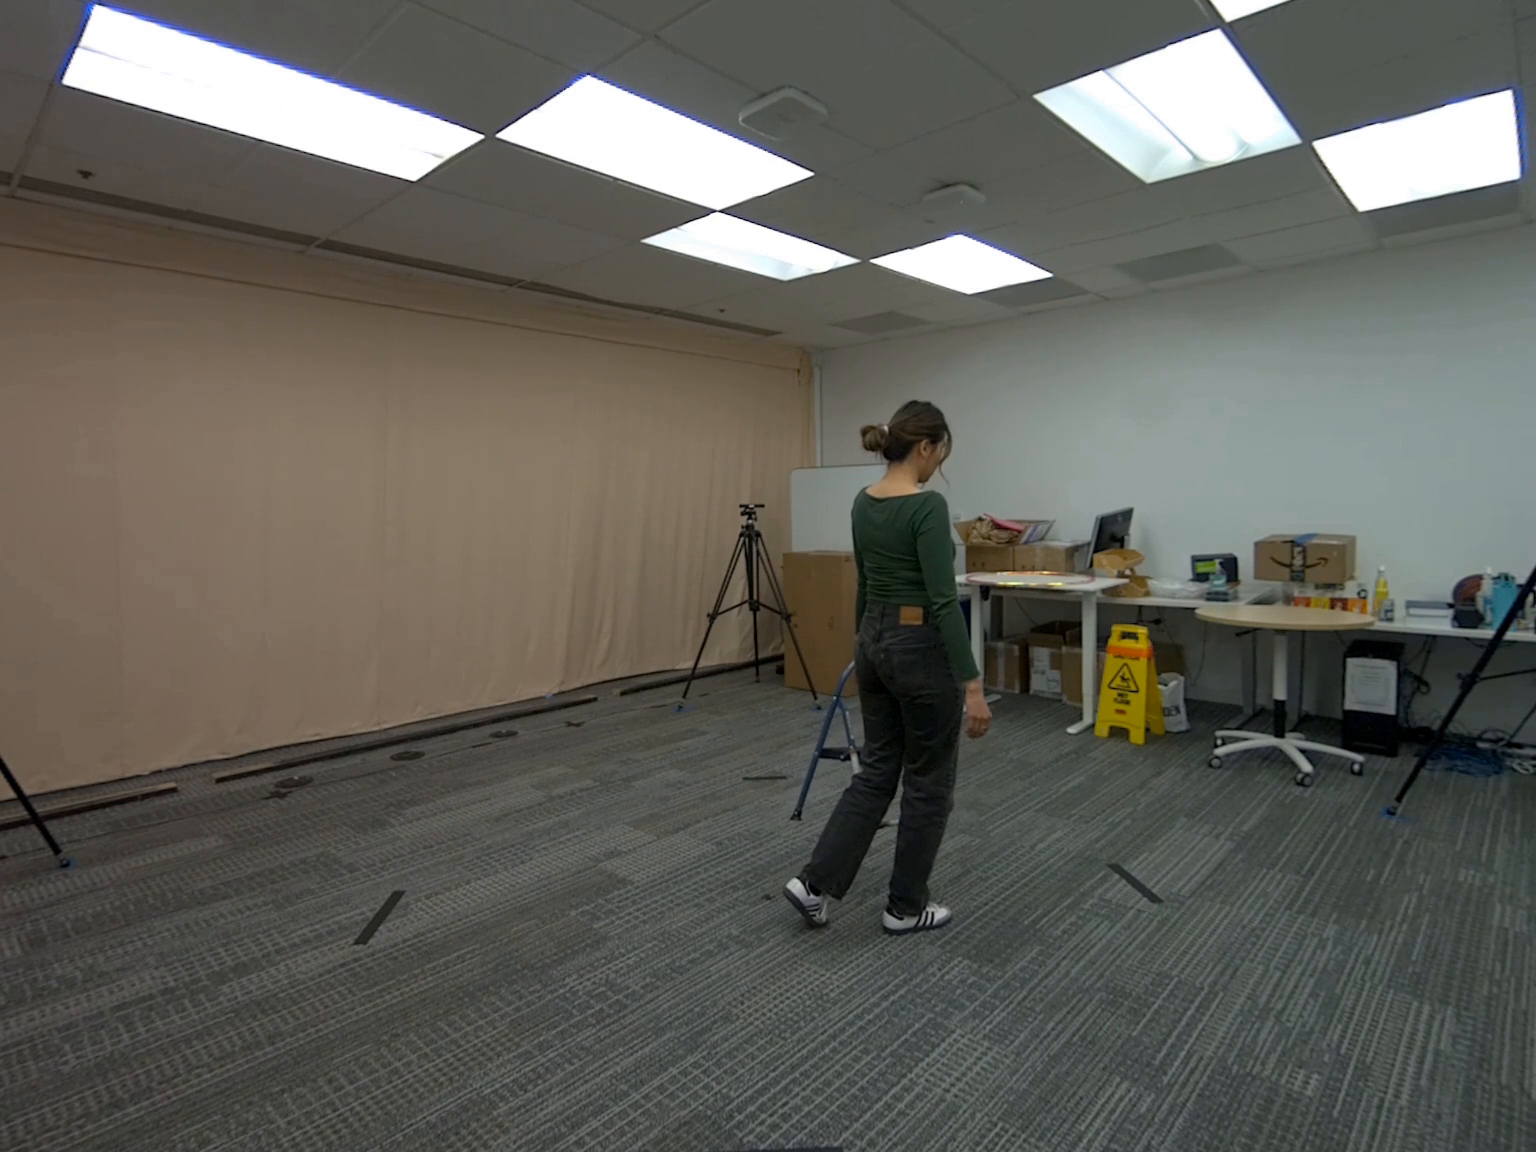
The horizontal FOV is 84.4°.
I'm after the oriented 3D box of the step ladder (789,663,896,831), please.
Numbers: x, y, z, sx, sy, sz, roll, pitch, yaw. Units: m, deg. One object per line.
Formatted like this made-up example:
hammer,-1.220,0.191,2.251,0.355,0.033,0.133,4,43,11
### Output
step ladder,0.352,0.607,3.154,0.360,0.609,0.416,-5,-11,39
